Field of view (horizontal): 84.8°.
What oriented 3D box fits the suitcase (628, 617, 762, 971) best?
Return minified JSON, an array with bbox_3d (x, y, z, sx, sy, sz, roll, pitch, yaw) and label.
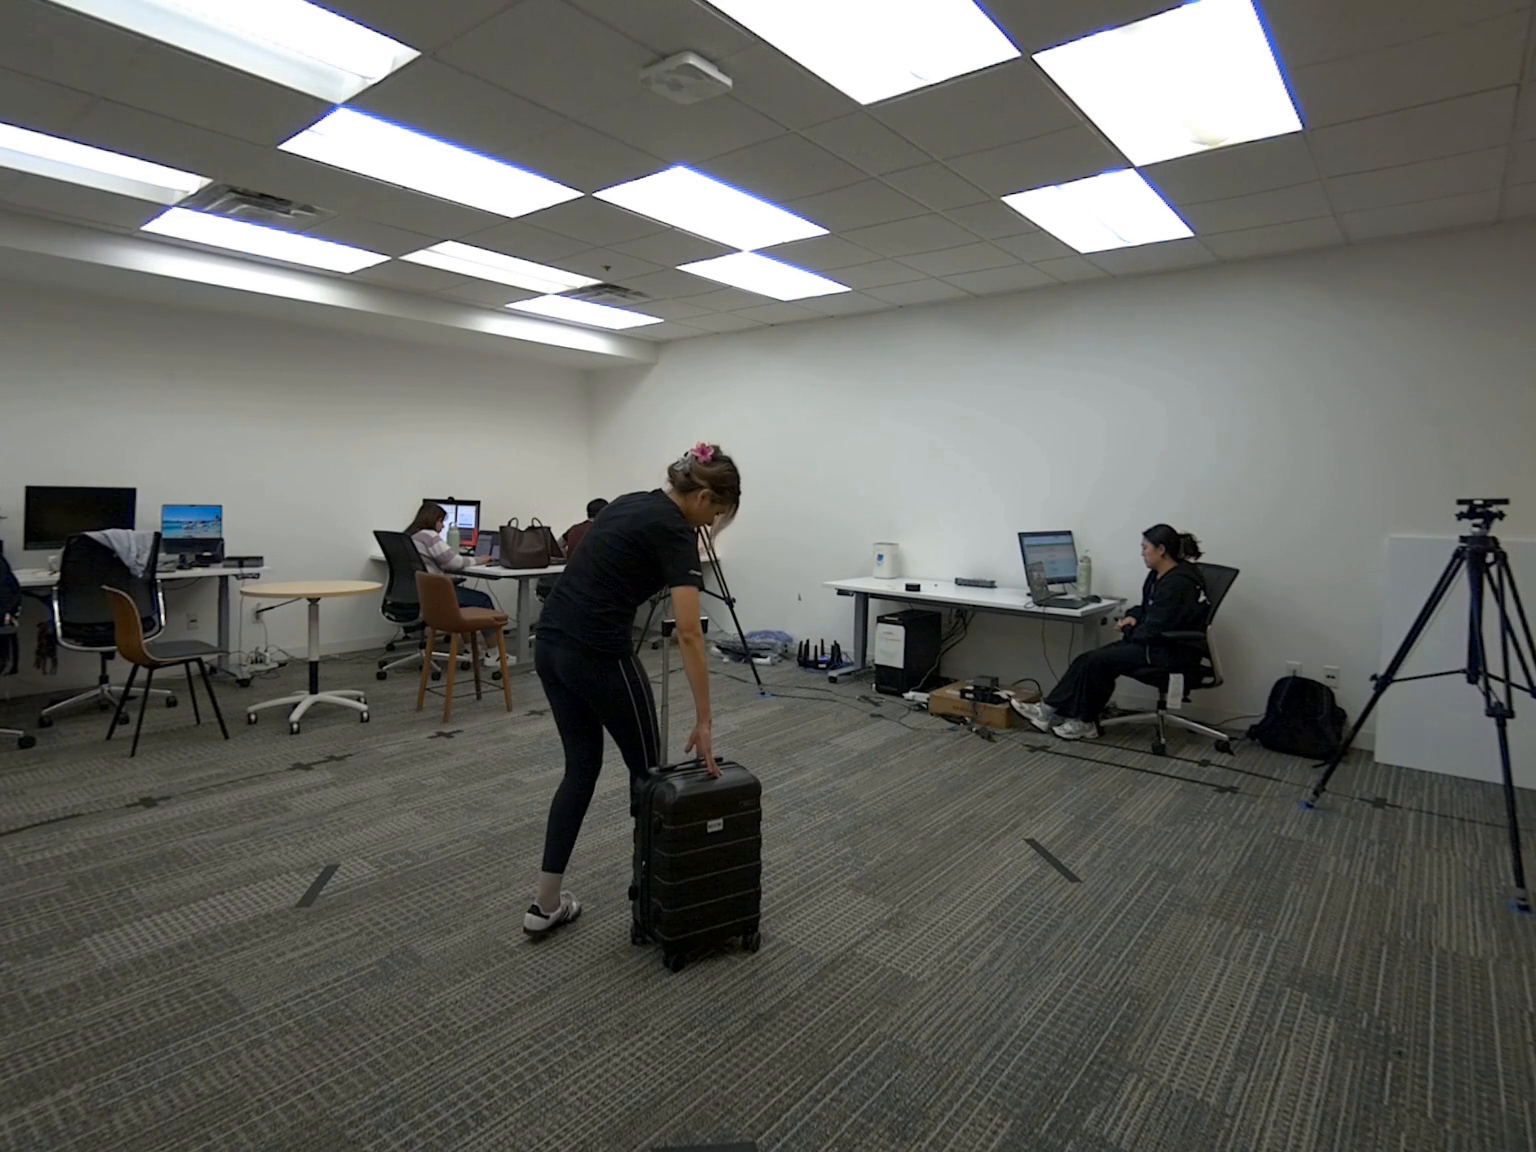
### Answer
[{"bbox_3d":[-0.209,0.646,2.565,0.374,0.975,0.264,0,5,-27],"label":"suitcase"}]
